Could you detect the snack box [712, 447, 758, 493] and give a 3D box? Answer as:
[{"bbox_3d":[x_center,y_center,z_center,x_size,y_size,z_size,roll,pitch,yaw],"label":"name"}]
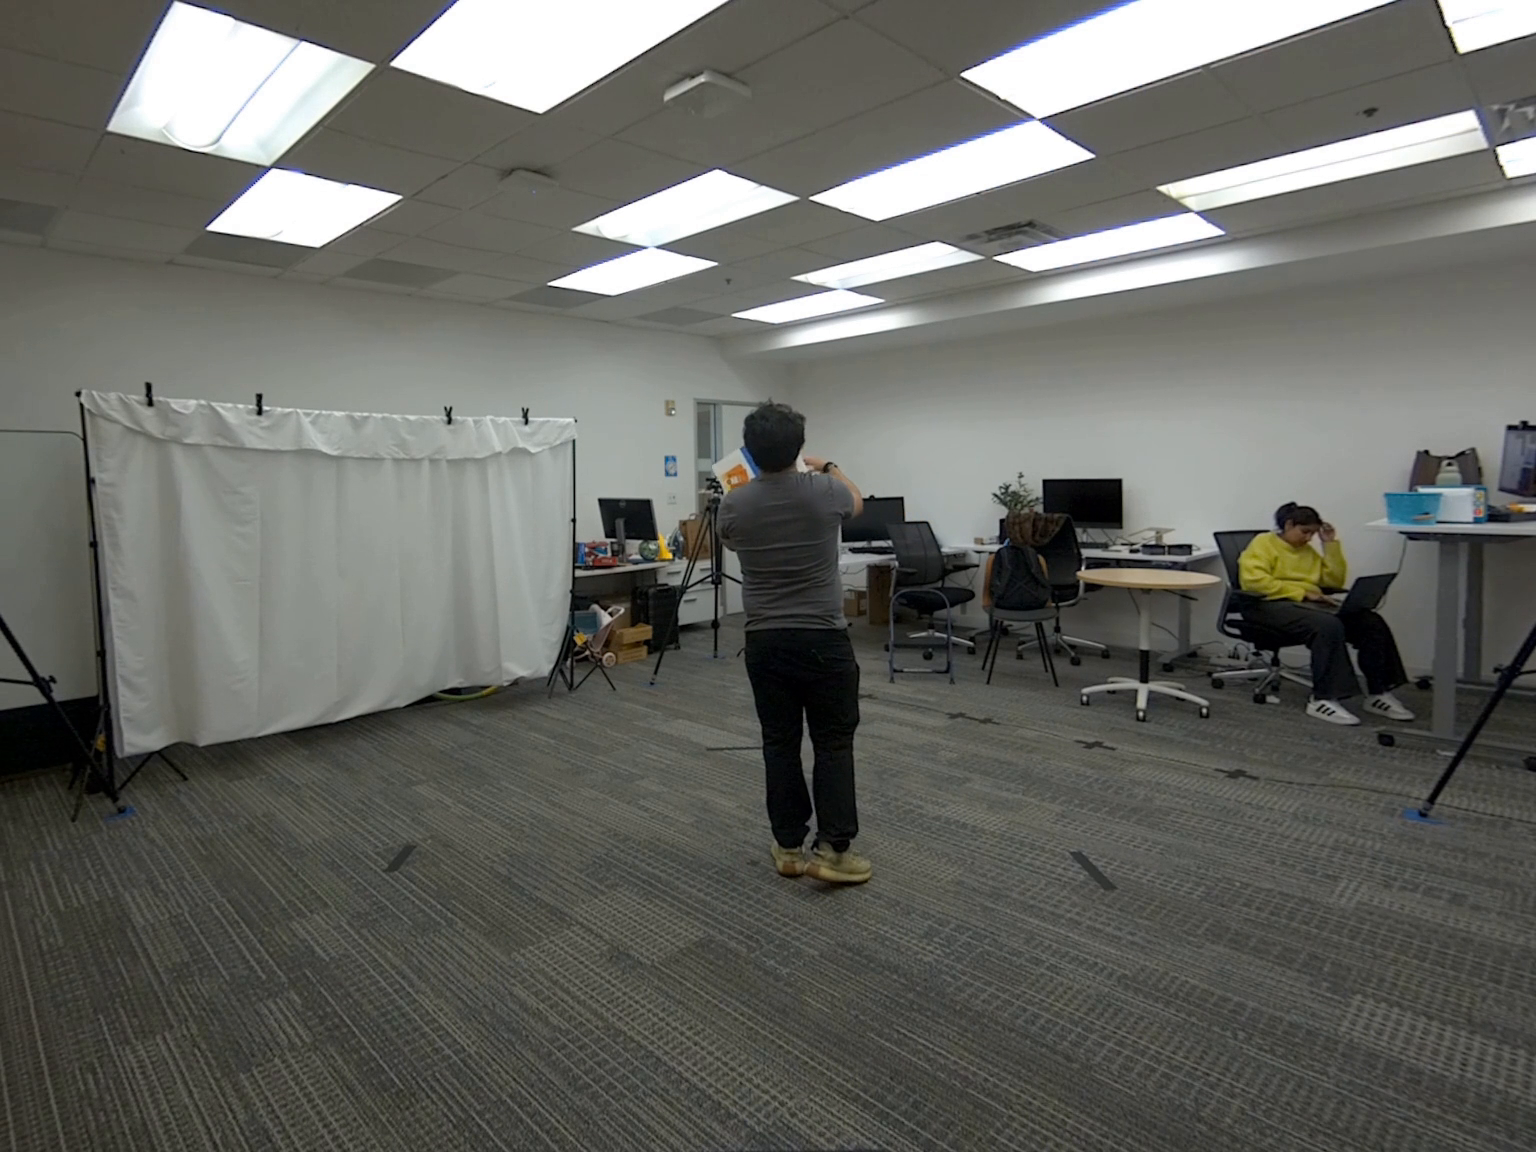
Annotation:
[{"bbox_3d":[0.032,-0.359,3.546,0.341,0.414,0.200,-32,-17,11],"label":"snack box"}]
